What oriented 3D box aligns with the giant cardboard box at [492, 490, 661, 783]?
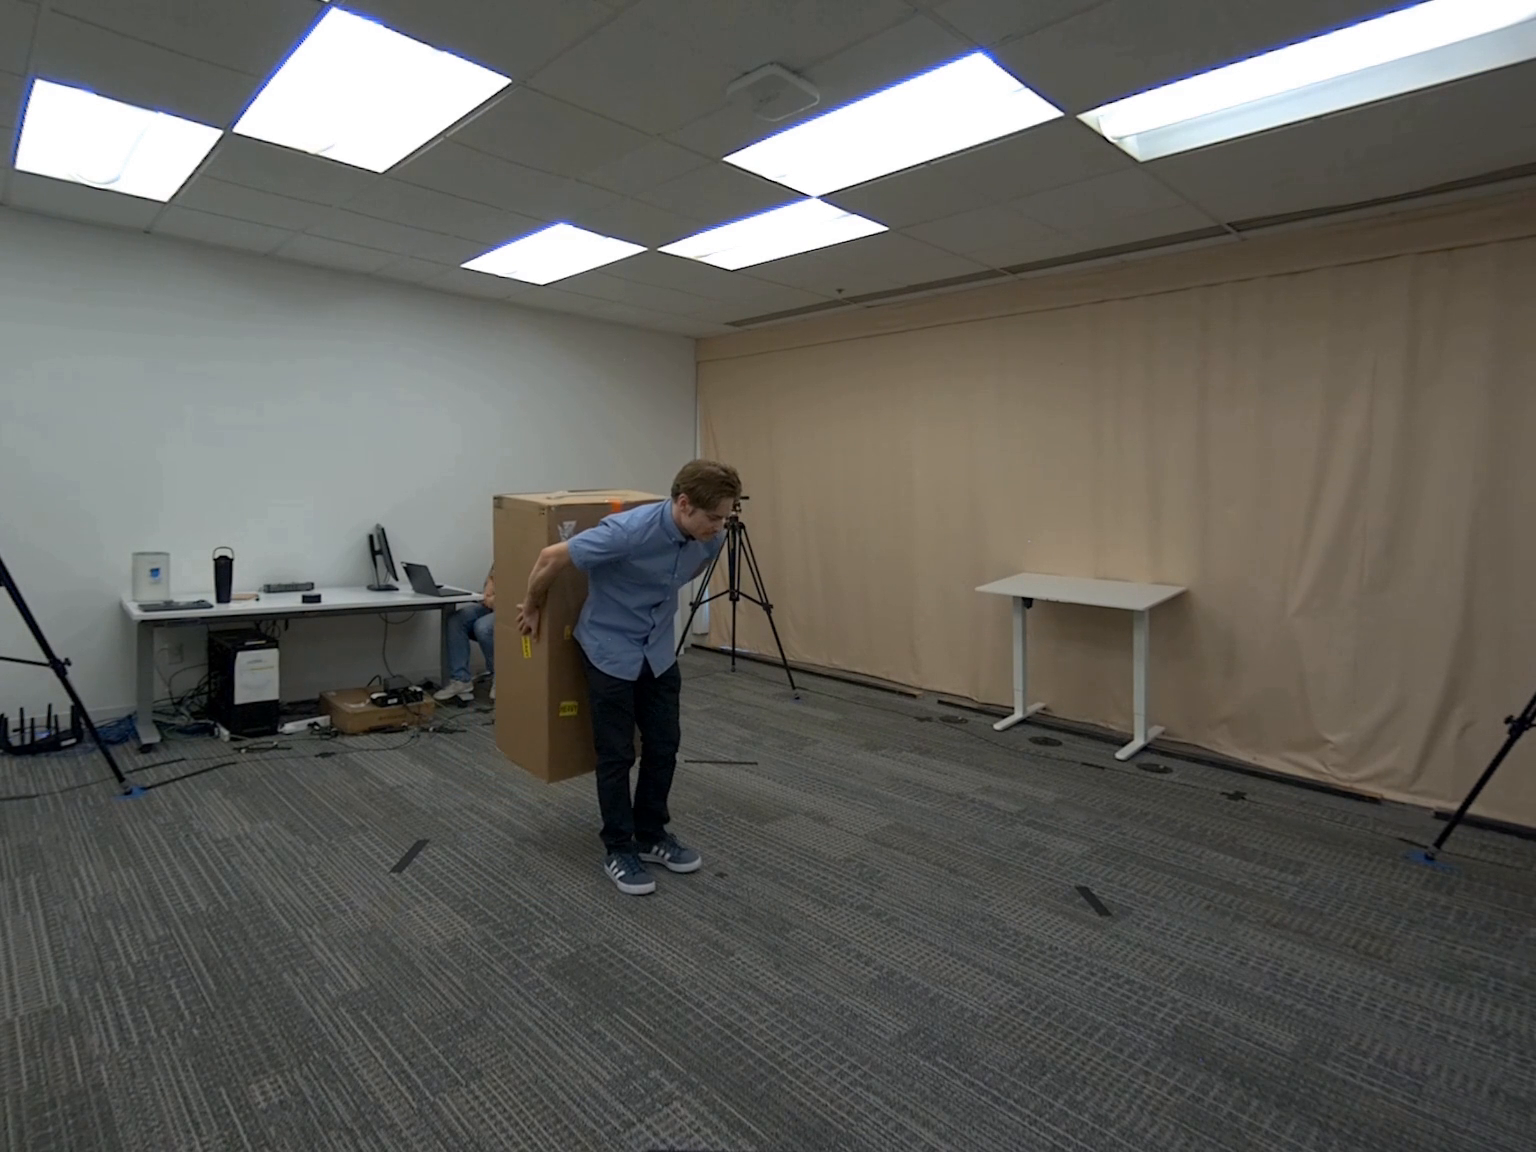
[{"bbox_3d":[-0.729,0.200,3.318,0.571,1.021,0.459,-6,11,-43],"label":"giant cardboard box"}]
